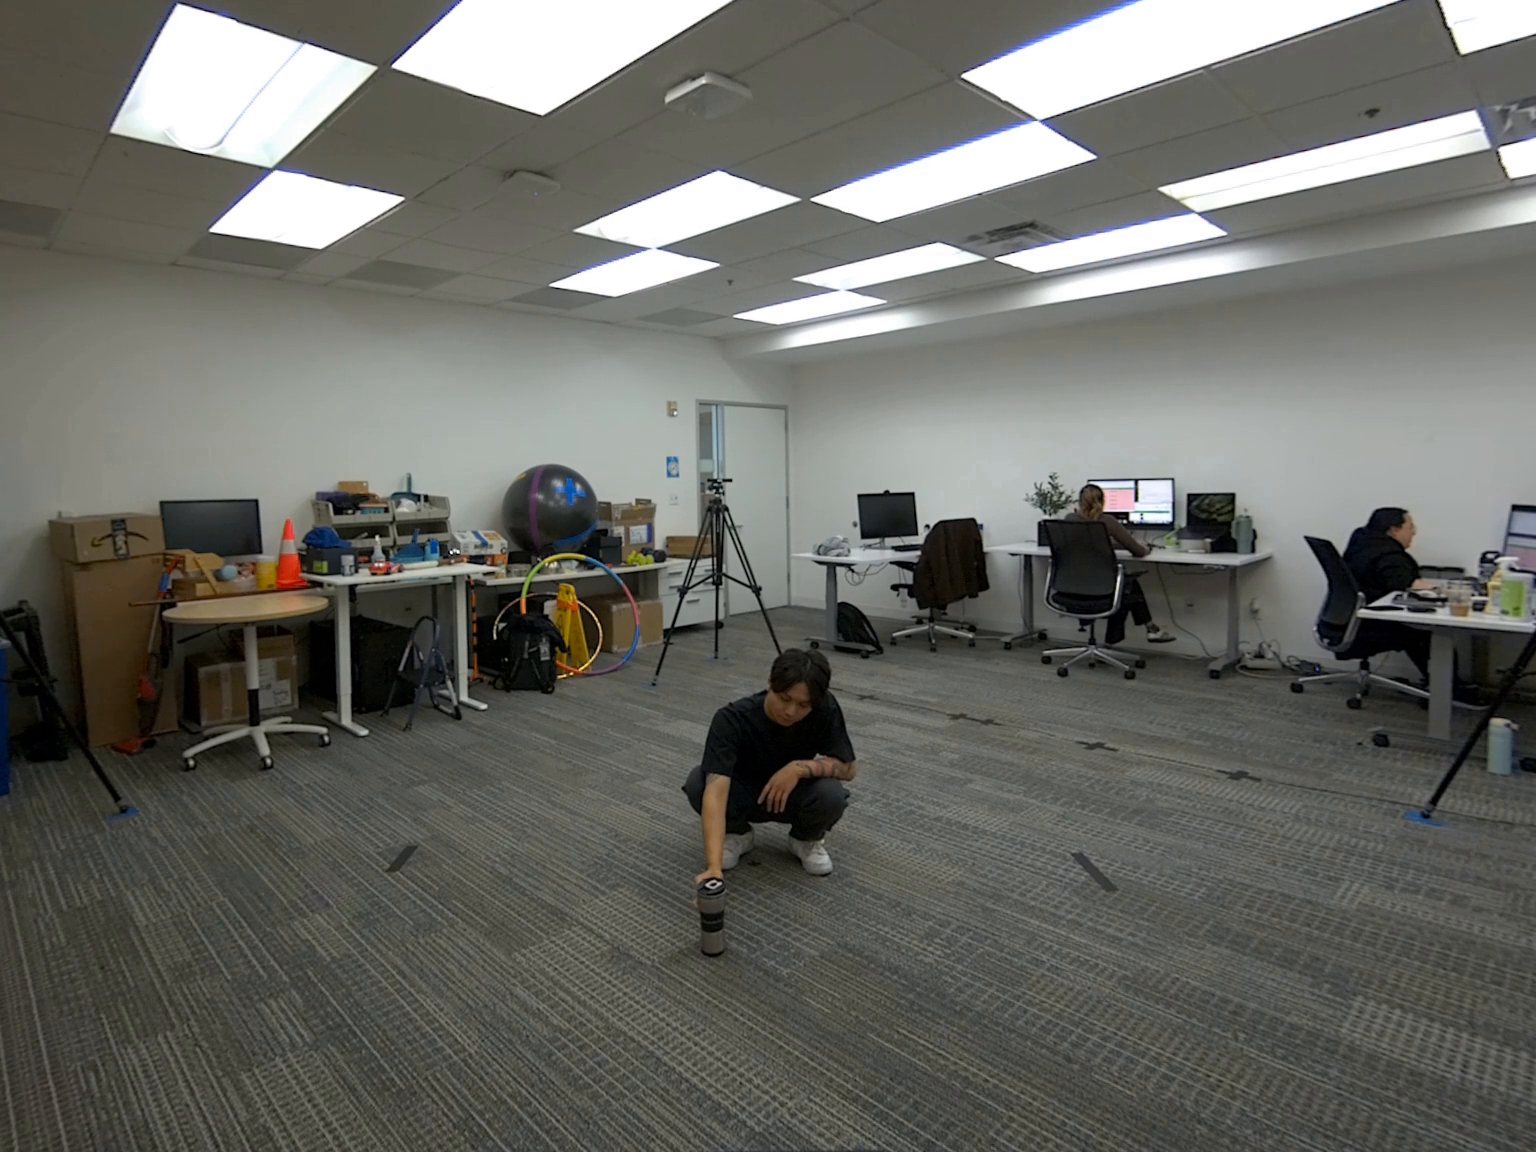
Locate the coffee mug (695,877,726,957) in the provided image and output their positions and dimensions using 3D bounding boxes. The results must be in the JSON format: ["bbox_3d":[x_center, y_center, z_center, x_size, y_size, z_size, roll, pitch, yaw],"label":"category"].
[{"bbox_3d":[-0.152,1.020,2.544,0.119,0.202,0.090,-12,5,-43],"label":"coffee mug"}]
